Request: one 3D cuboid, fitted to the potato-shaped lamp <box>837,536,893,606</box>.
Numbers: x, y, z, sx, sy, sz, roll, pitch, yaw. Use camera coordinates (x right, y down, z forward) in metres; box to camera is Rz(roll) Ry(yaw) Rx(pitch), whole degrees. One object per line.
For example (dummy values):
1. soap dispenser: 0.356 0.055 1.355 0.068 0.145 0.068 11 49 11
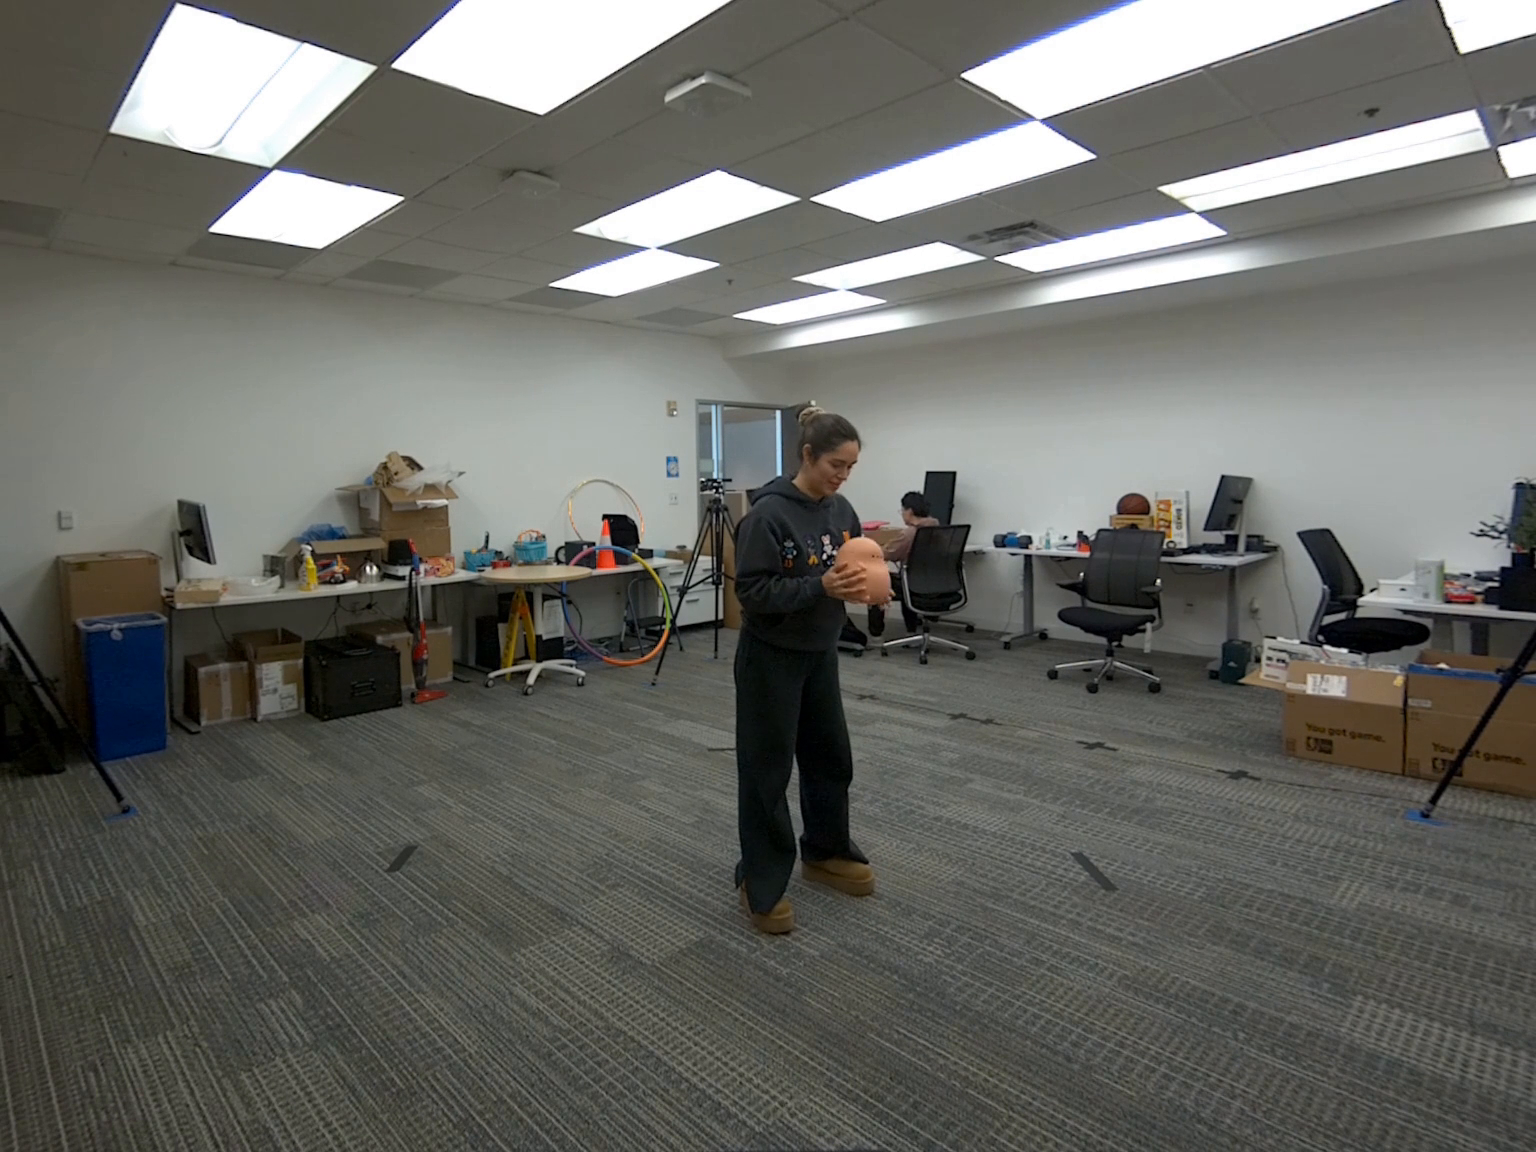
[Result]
1. potato-shaped lamp: 0.272 -0.015 2.559 0.160 0.198 0.176 5 -2 -40
